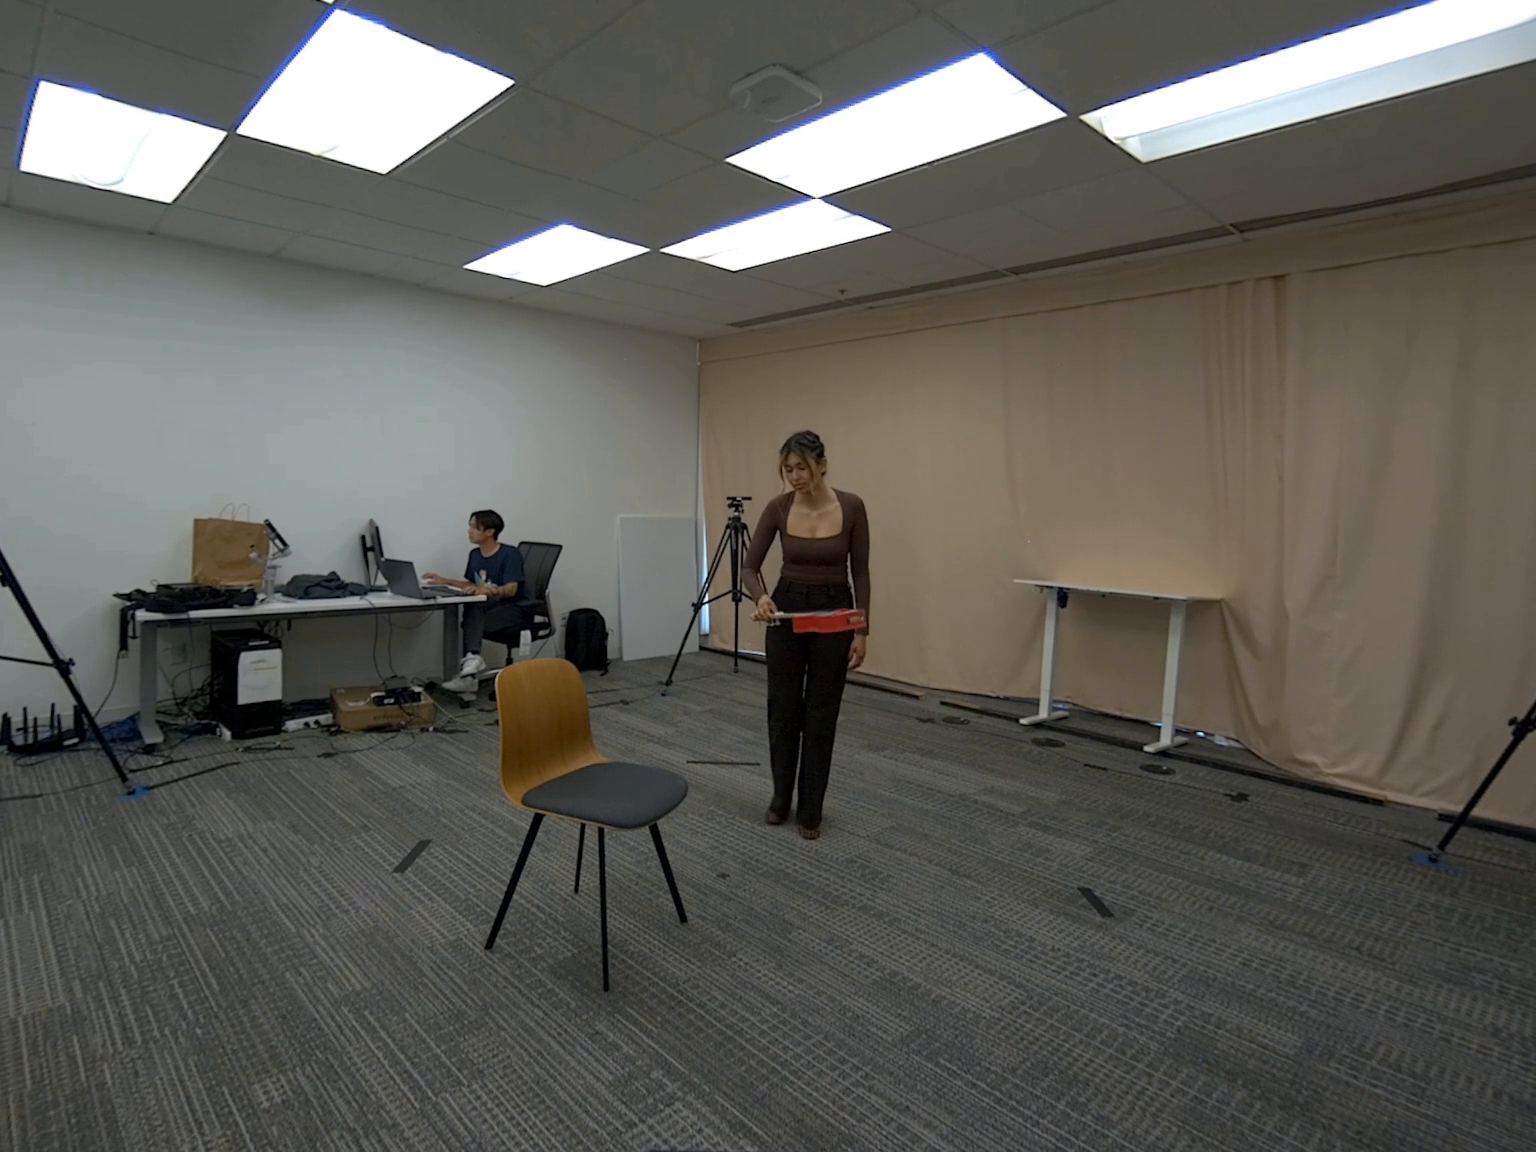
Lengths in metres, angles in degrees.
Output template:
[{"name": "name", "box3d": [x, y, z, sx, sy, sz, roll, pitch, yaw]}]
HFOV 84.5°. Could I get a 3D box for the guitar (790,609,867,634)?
[{"name": "guitar", "box3d": [0.145, 0.160, 3.157, 0.189, 0.071, 0.508, -6, 2, -34]}]
